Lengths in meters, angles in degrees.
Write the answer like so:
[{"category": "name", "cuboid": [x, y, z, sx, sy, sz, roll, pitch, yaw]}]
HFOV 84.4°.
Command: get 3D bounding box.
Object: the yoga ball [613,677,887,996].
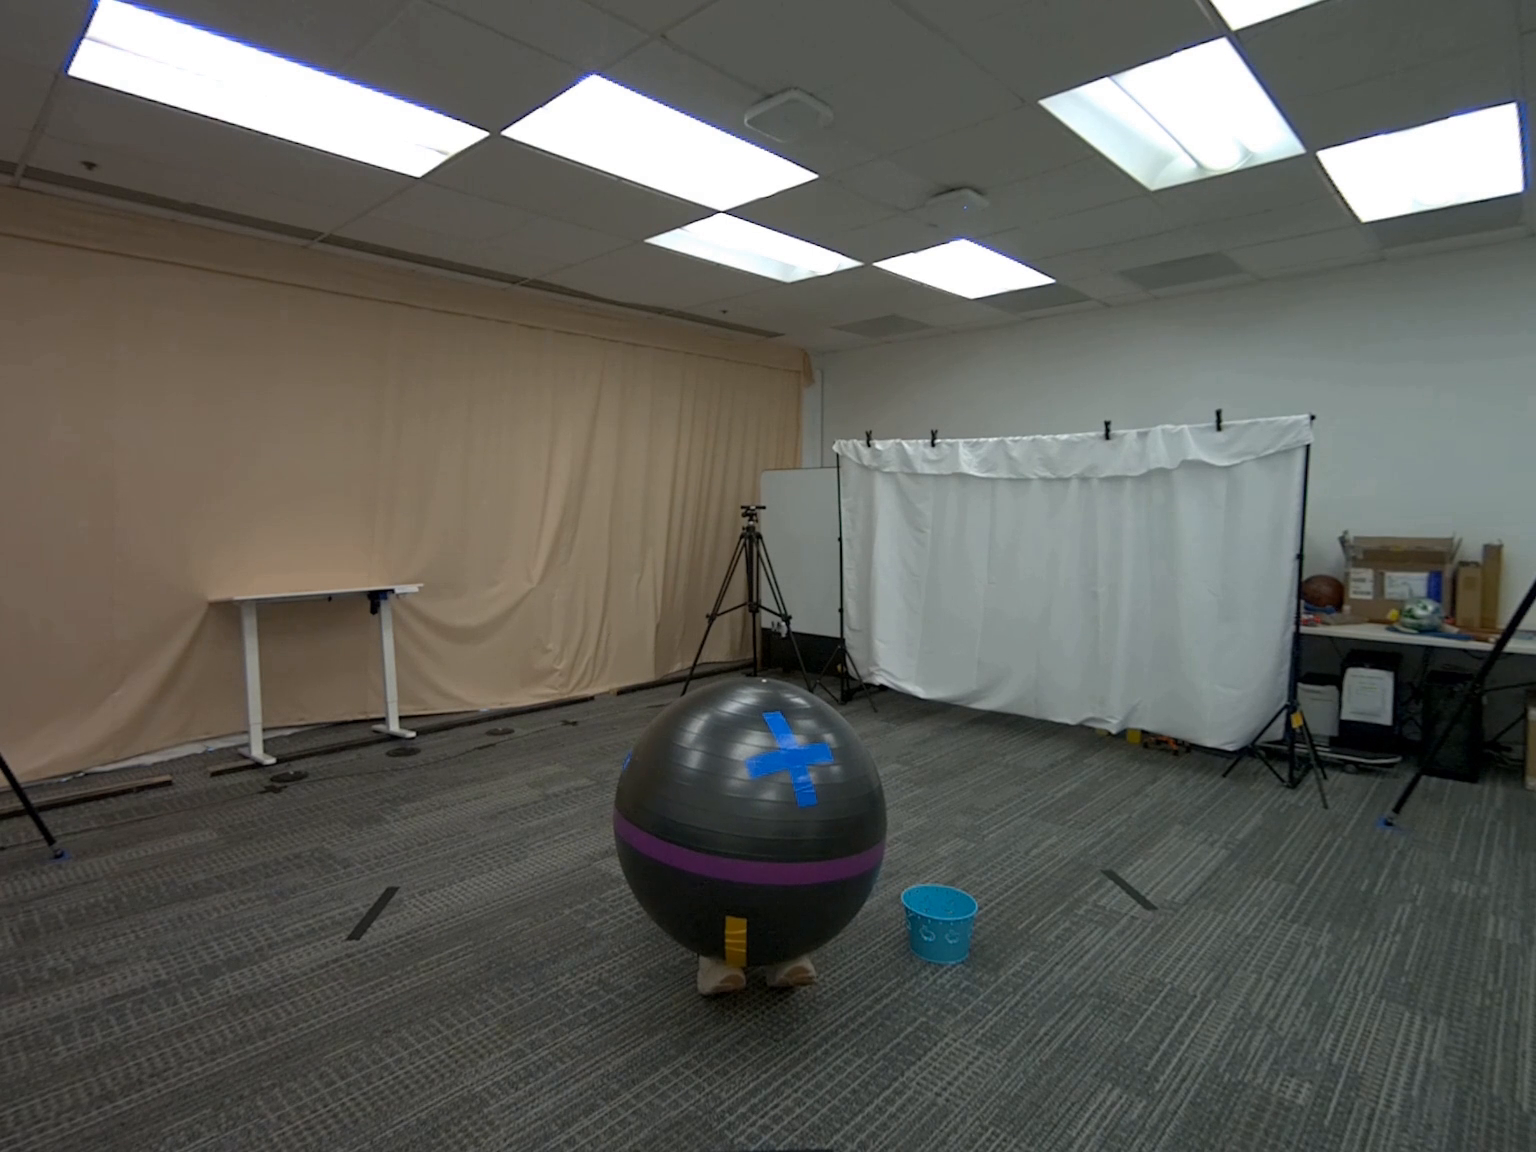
[{"category": "yoga ball", "cuboid": [-0.043, 0.670, 2.351, 0.757, 0.756, 0.761, 0, 4, -2]}]
